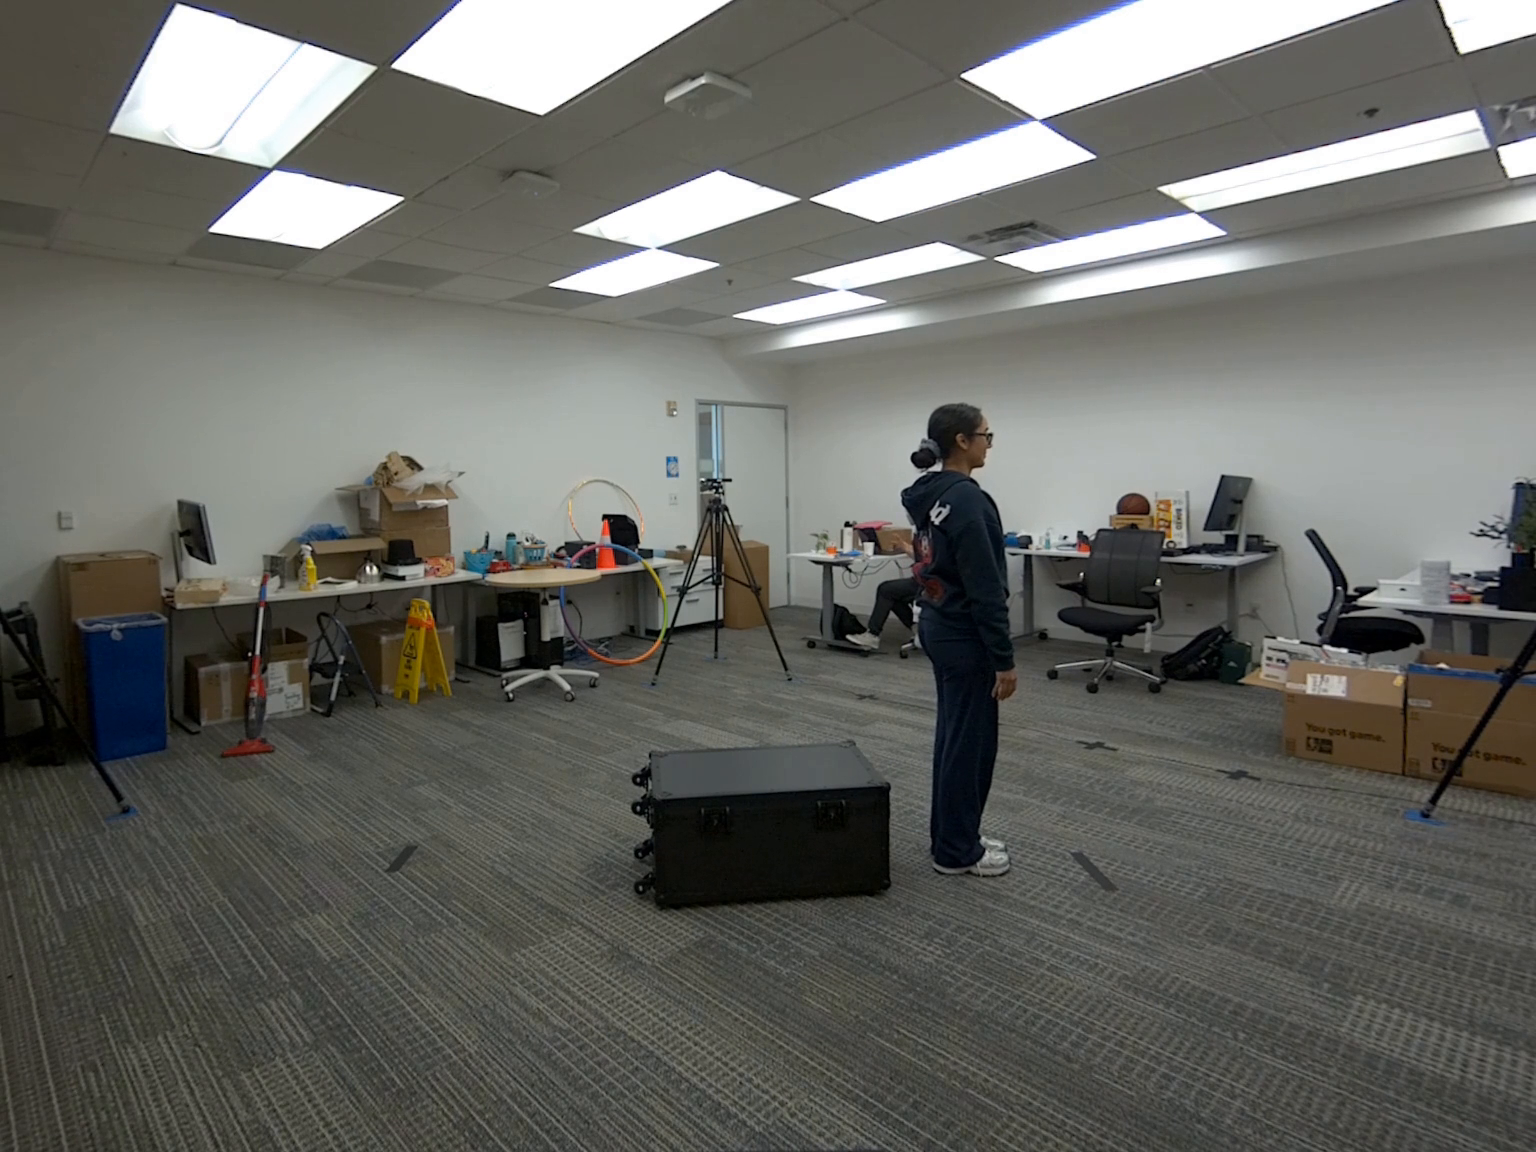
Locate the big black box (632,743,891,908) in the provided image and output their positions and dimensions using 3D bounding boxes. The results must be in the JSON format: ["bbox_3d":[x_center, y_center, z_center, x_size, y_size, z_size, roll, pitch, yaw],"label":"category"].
[{"bbox_3d":[-0.049,0.855,3.026,0.856,0.394,0.527,-1,6,-7],"label":"big black box"}]
